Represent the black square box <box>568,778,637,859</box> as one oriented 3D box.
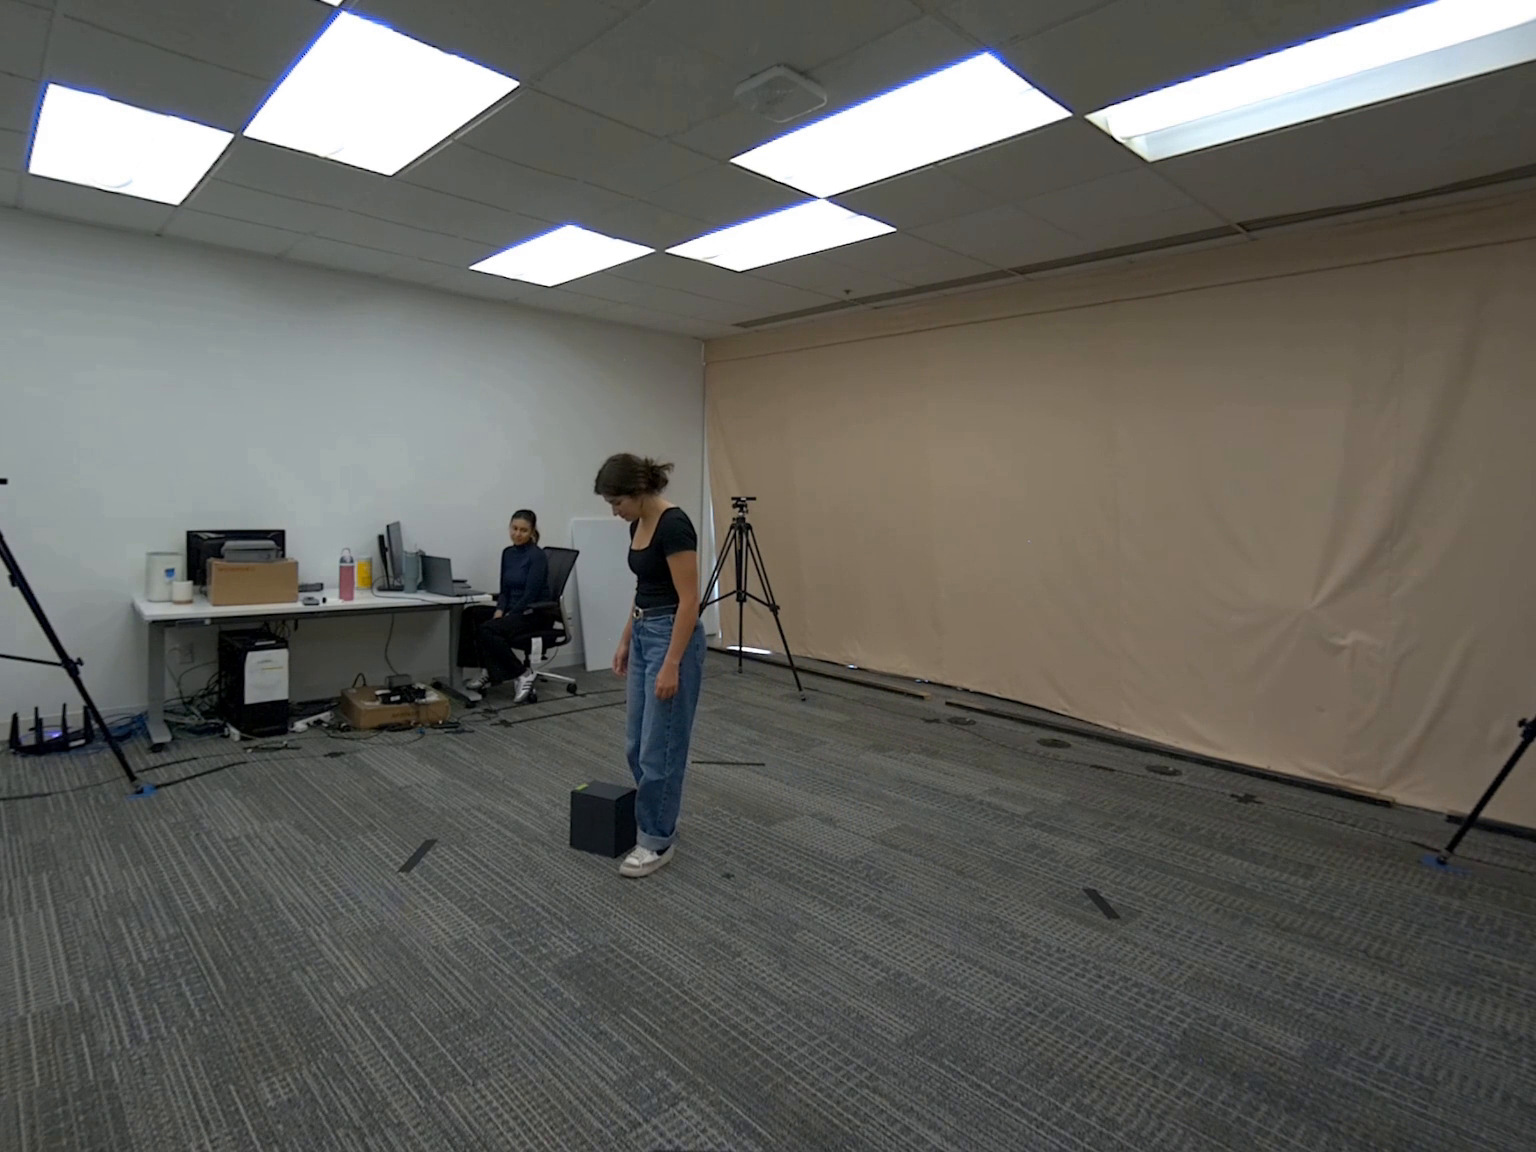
[{"bbox_3d":[-0.657,0.952,3.334,0.221,0.227,0.153,3,3,26],"label":"black square box"}]
